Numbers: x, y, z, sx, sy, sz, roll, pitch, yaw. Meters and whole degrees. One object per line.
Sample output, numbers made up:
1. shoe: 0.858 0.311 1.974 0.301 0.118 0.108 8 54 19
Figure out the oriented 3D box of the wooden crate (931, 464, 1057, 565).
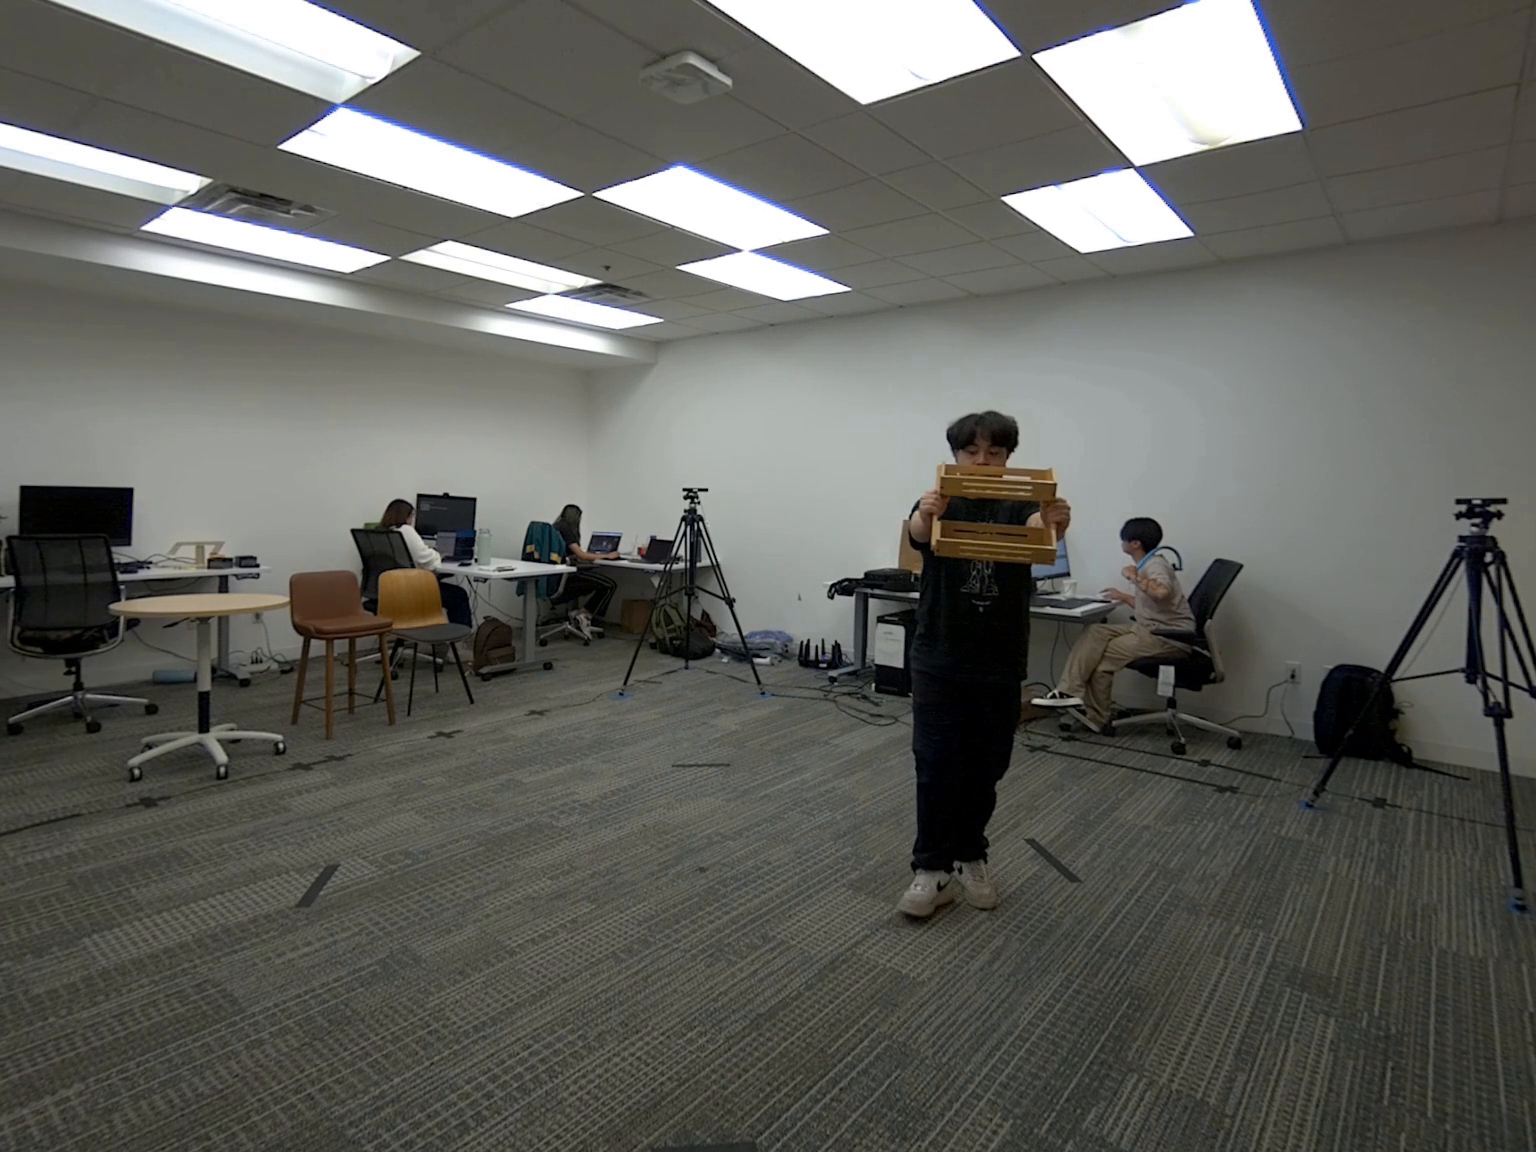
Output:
1. wooden crate: 0.637 -0.186 2.360 0.327 0.272 0.301 4 4 6
